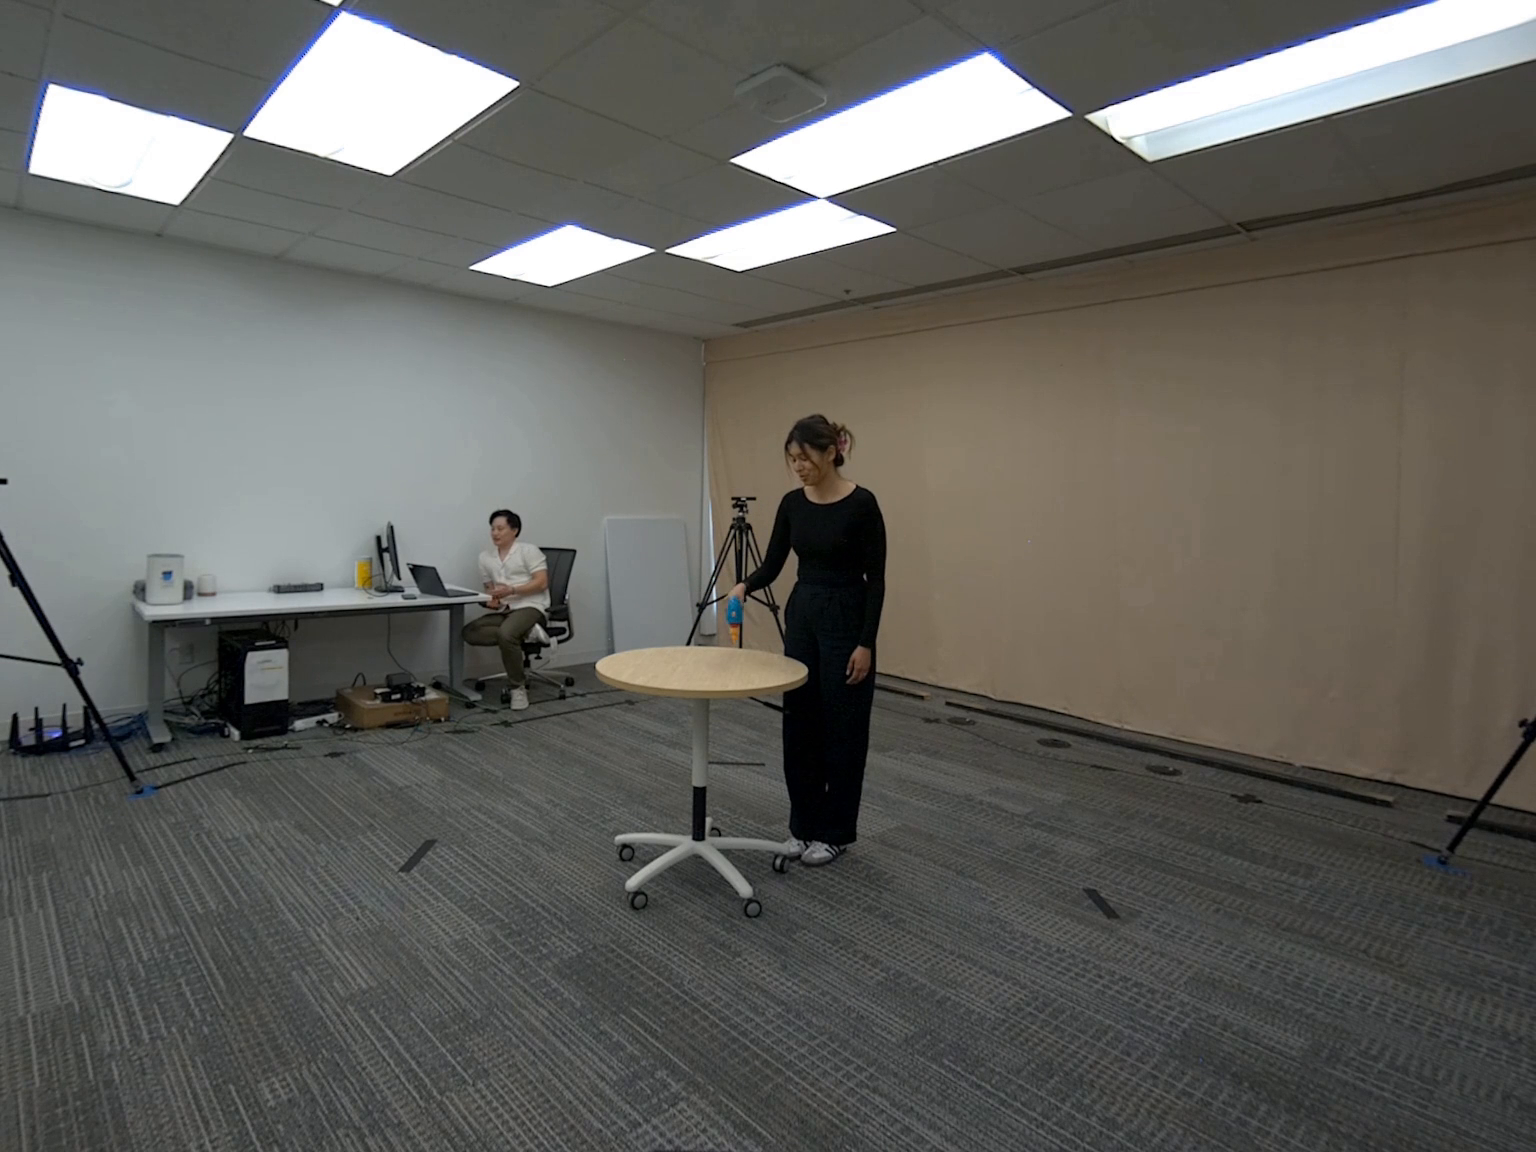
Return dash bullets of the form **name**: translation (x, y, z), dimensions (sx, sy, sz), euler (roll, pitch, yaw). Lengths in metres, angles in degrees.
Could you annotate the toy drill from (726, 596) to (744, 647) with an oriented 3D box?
- **toy drill**: translation (-0.137, 0.167, 3.073), dimensions (0.061, 0.171, 0.144), euler (-2, -10, 6)
